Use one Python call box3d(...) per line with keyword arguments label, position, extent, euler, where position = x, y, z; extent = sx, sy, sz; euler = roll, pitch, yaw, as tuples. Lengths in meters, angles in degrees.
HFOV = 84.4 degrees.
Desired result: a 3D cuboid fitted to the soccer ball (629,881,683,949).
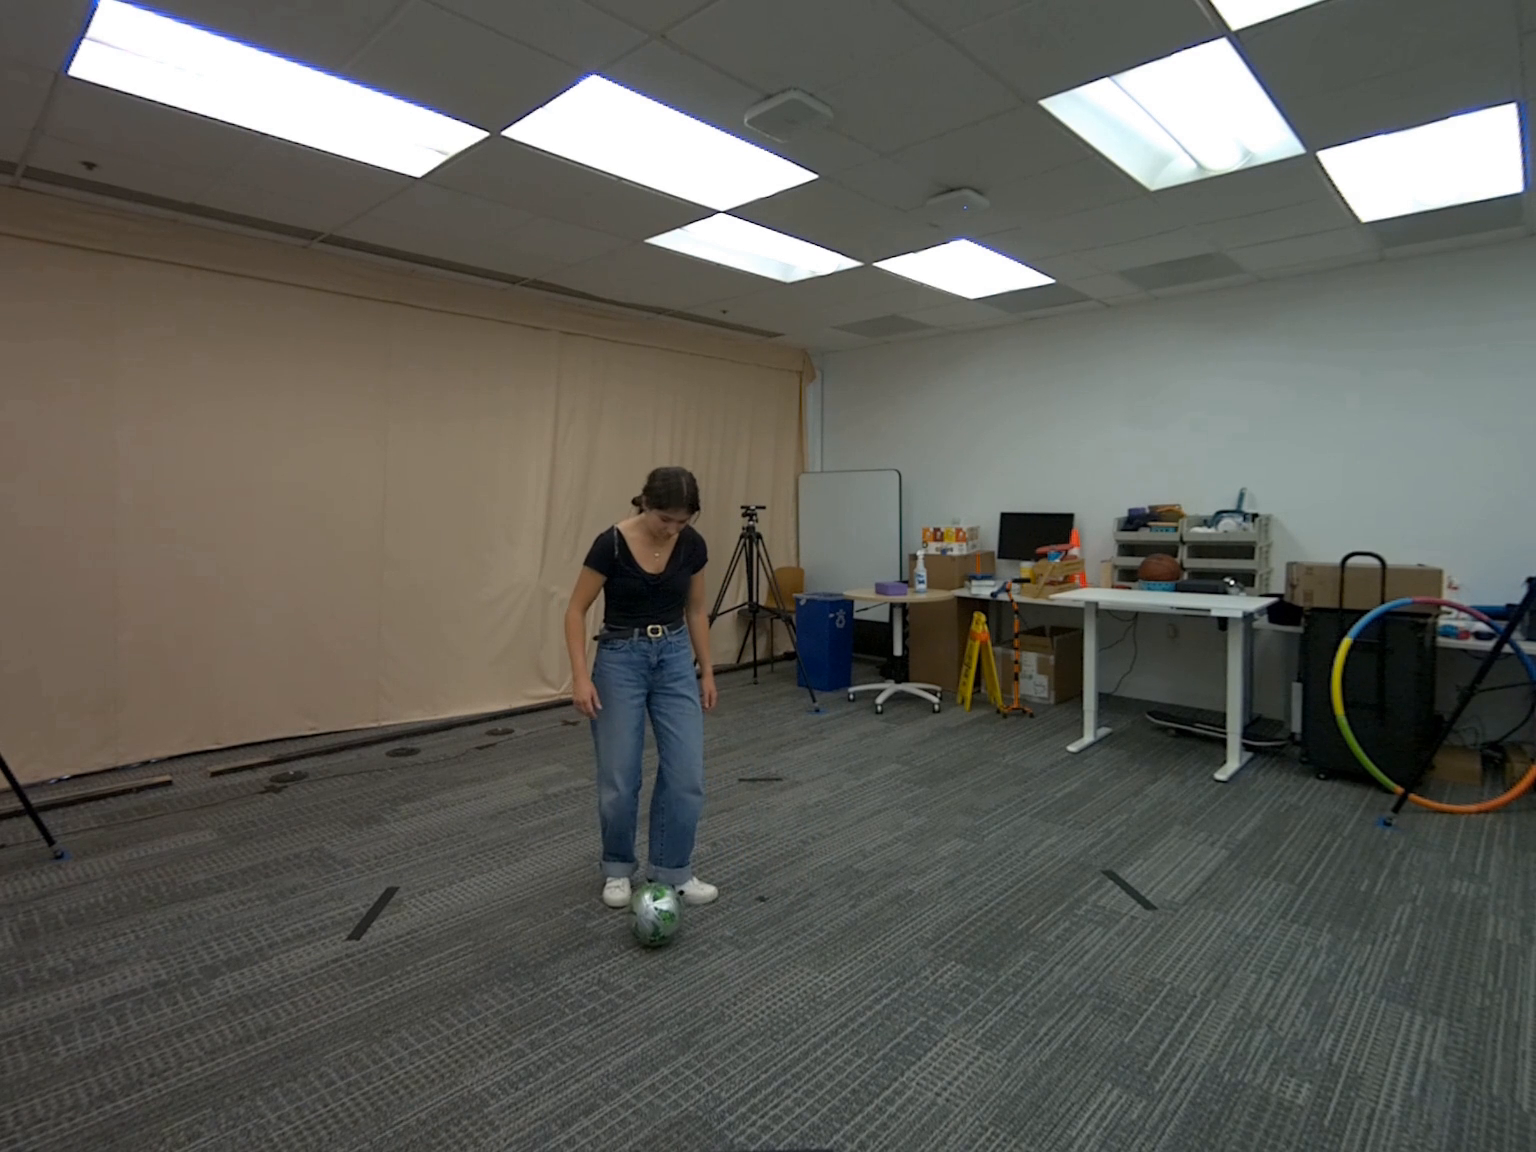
box3d(label="soccer ball", position=(-0.361, 1.067, 2.687), extent=(0.187, 0.187, 0.188), euler=(0, 4, -2))
